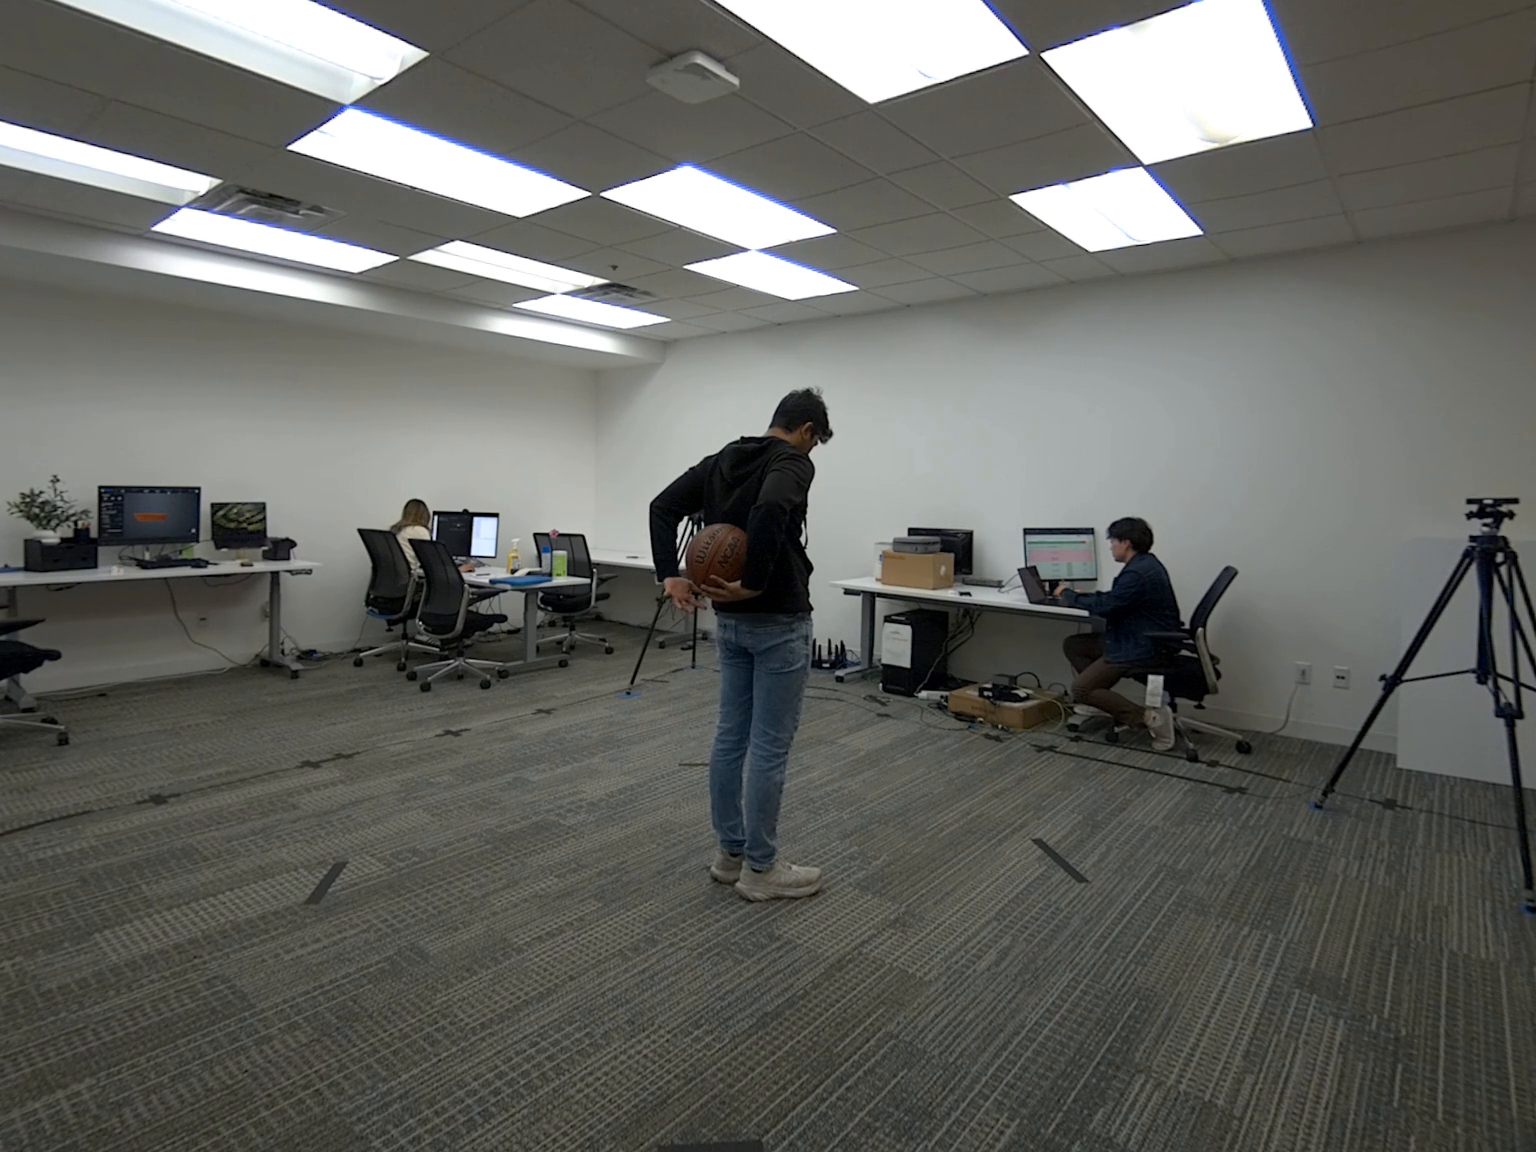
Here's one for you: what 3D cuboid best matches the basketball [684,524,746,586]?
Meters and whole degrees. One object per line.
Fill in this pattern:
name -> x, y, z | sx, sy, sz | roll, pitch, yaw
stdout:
basketball -> -0.162, -0.058, 2.809 | 0.235, 0.235, 0.237 | 1, 4, -2
